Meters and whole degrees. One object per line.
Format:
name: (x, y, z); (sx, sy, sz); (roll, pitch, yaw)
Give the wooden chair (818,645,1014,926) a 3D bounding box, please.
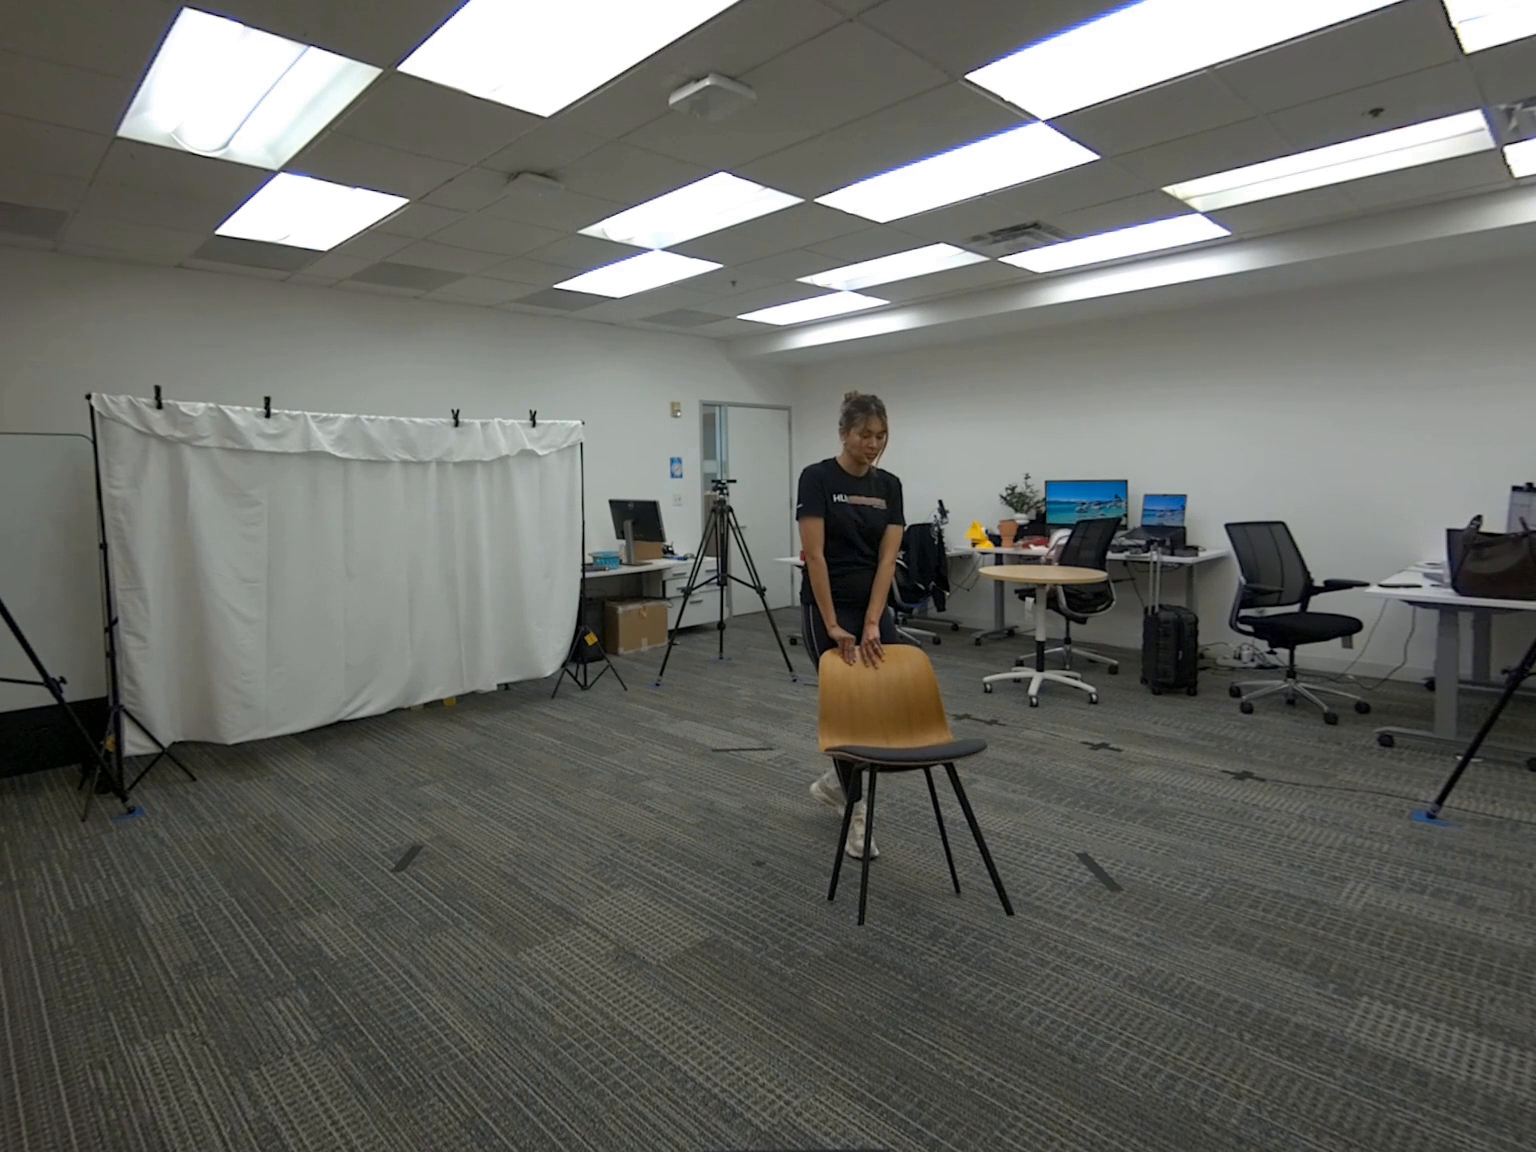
wooden chair: (0.429, 0.608, 2.717); (0.475, 0.892, 0.517); (-1, -18, -6)
